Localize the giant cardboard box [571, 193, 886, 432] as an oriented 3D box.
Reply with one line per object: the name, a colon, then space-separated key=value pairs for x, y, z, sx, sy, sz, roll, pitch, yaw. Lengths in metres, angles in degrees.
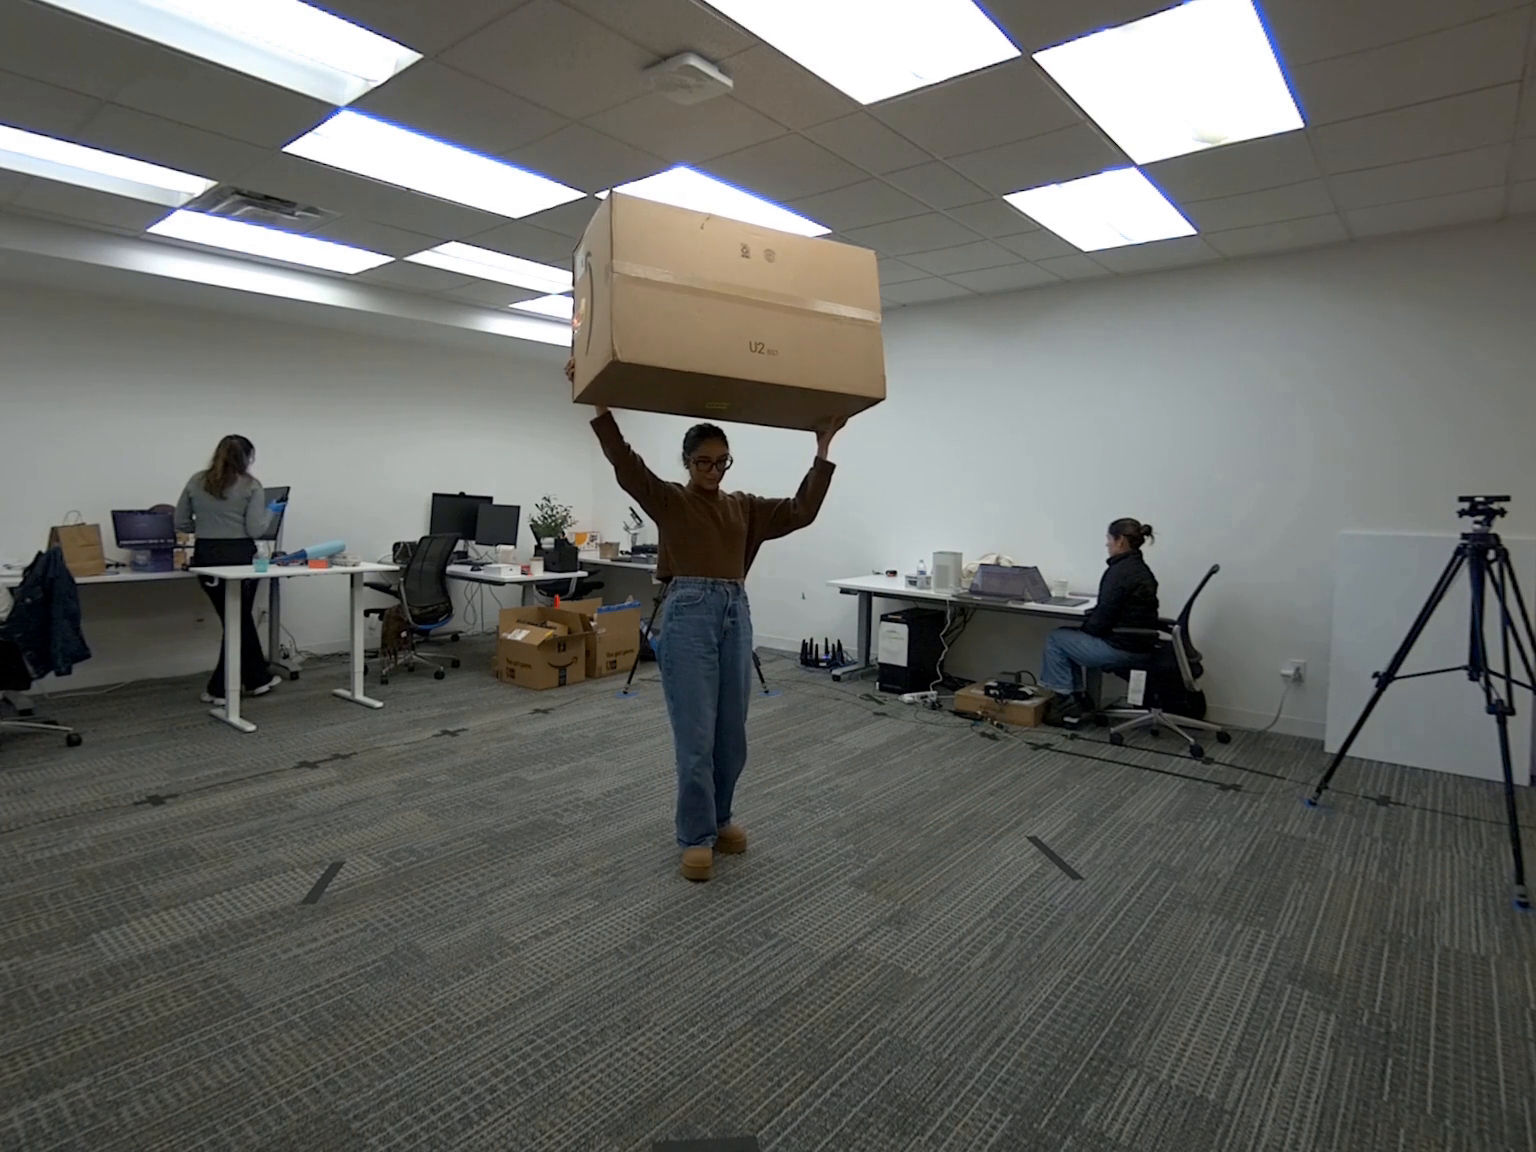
giant cardboard box: x=-0.150 y=-0.890 z=3.019 sx=0.999 sy=0.584 sz=0.433 roll=2 pitch=-11 yaw=-27
